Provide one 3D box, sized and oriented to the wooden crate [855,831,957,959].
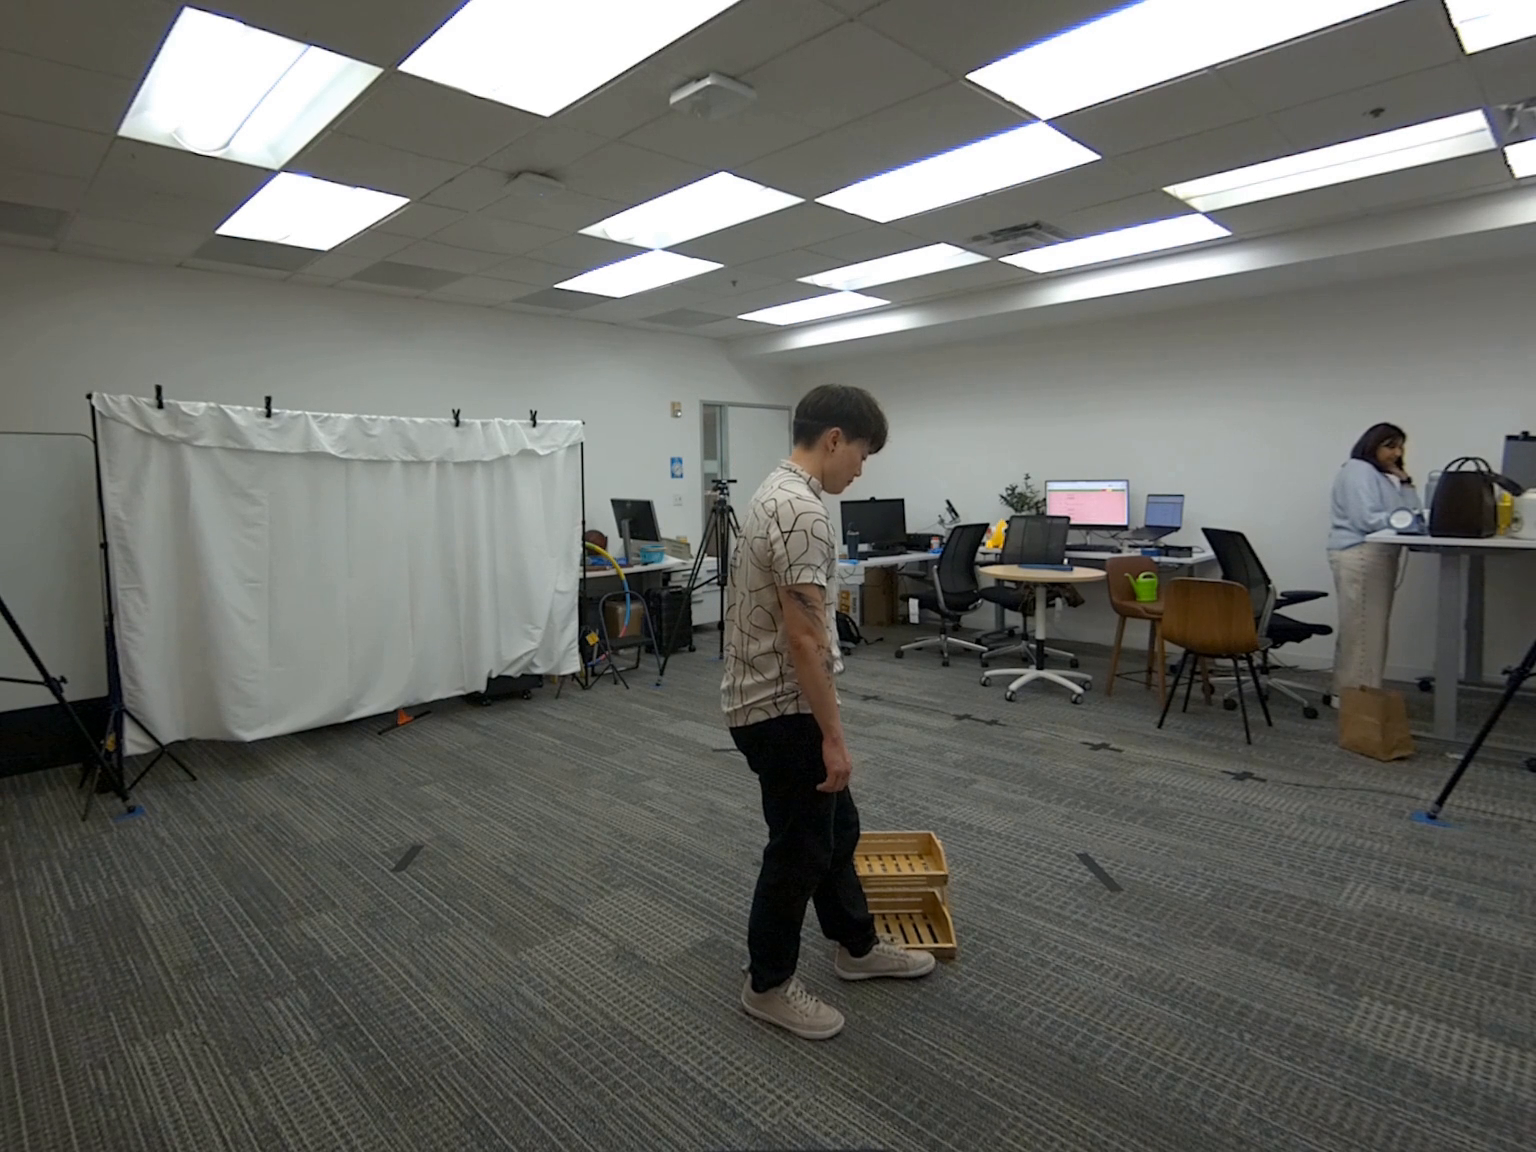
[{"bbox_3d":[0.396,0.967,2.588,0.324,0.272,0.303,-1,5,-1],"label":"wooden crate"}]
